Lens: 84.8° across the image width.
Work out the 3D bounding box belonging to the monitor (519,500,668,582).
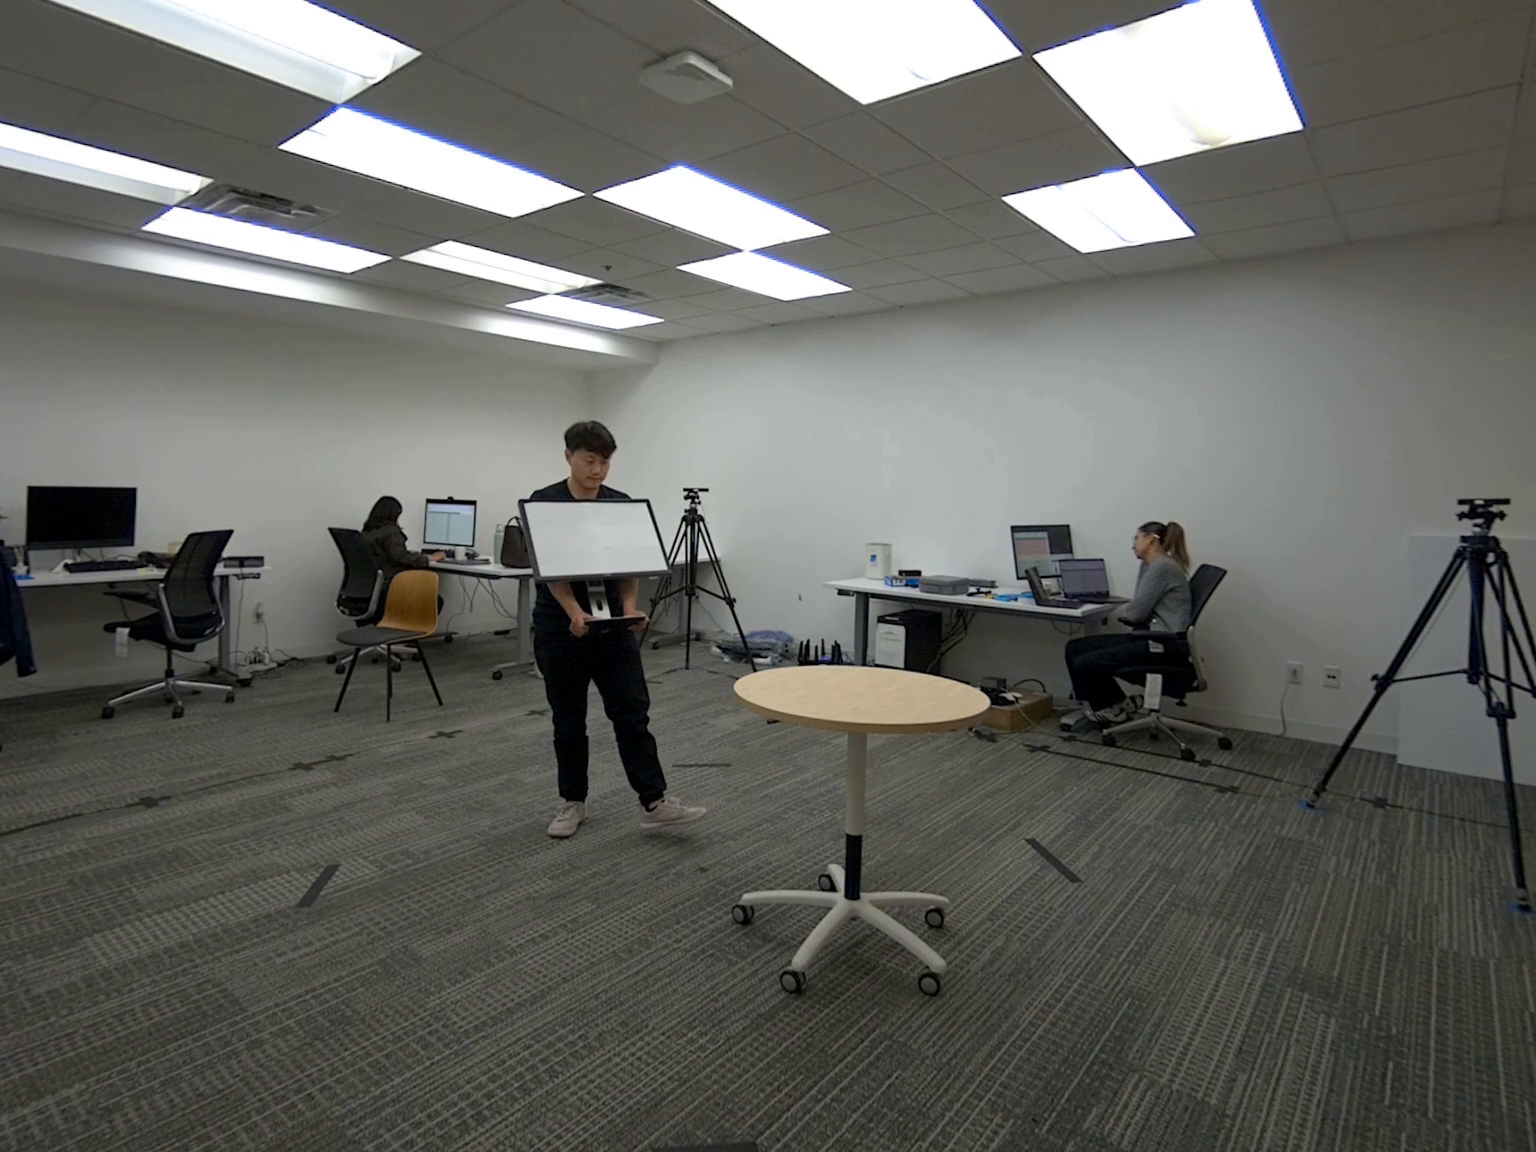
[{"bbox_3d":[-0.672,-0.056,3.314,0.524,0.534,0.188,-2,-22,-34],"label":"monitor"}]
